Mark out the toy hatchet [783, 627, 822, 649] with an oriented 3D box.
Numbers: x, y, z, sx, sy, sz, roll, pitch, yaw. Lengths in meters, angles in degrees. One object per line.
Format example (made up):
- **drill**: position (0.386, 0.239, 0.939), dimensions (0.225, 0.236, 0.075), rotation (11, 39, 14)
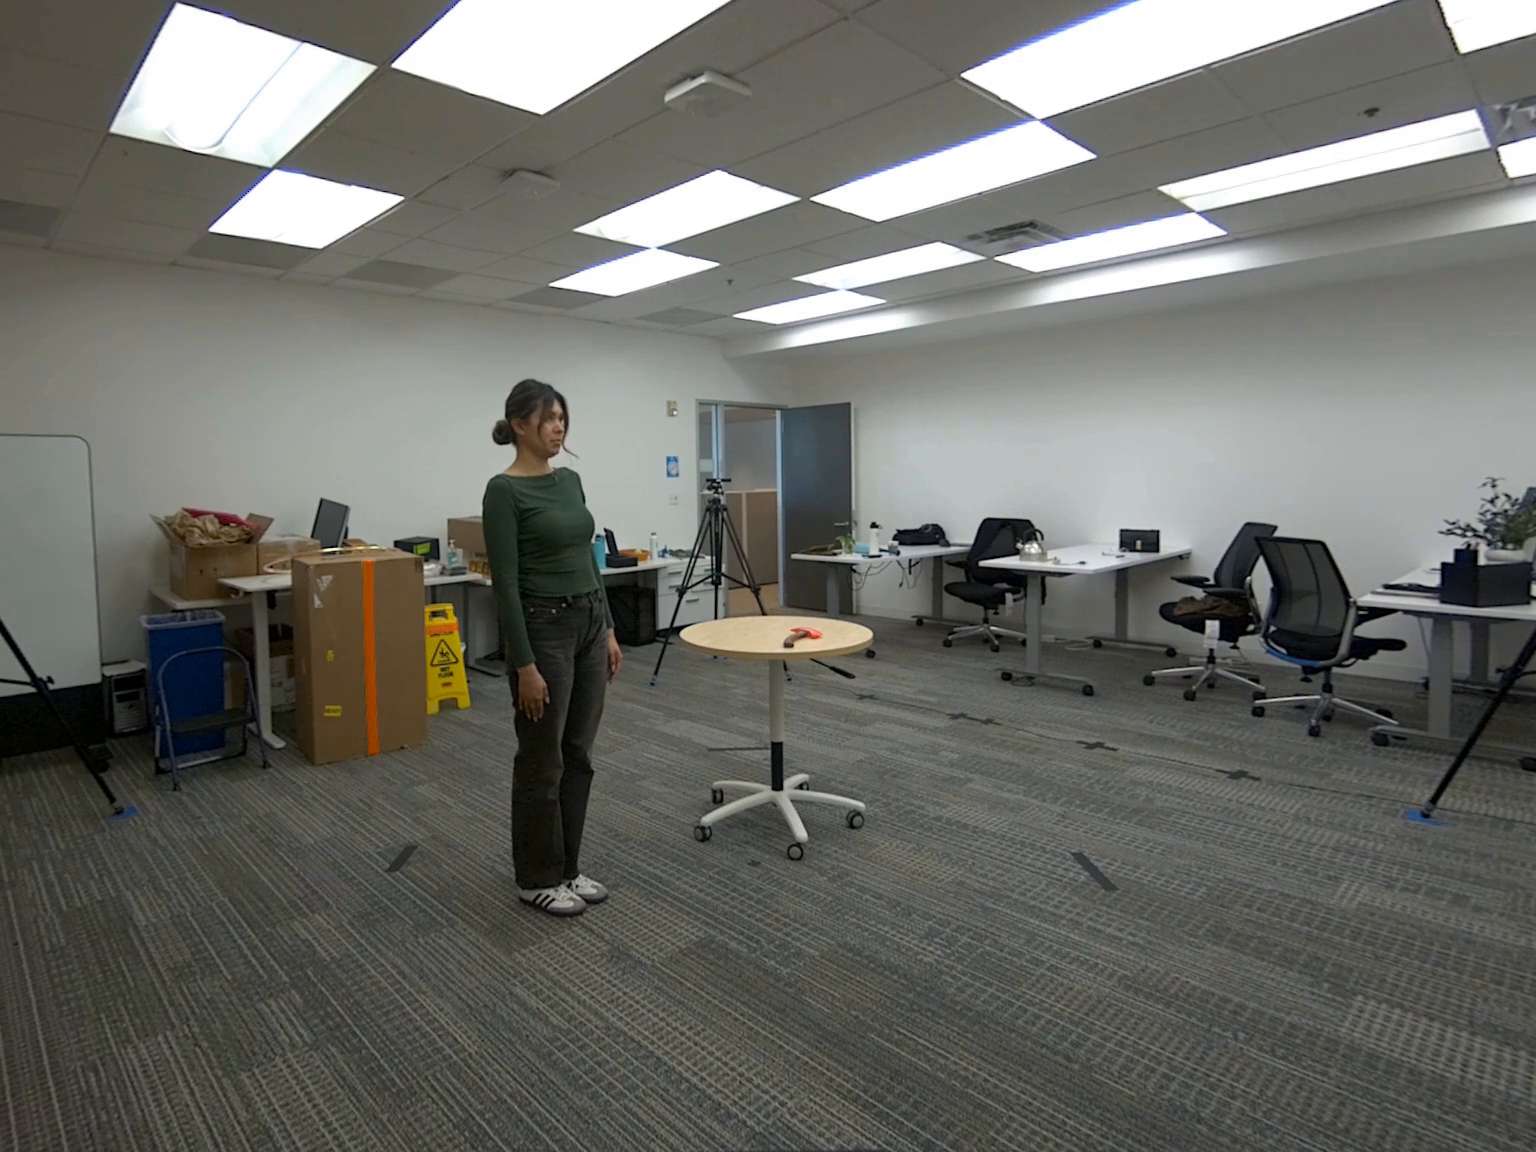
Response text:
- **toy hatchet**: position (0.141, 0.237, 3.229), dimensions (0.132, 0.029, 0.269), rotation (3, 9, 7)
